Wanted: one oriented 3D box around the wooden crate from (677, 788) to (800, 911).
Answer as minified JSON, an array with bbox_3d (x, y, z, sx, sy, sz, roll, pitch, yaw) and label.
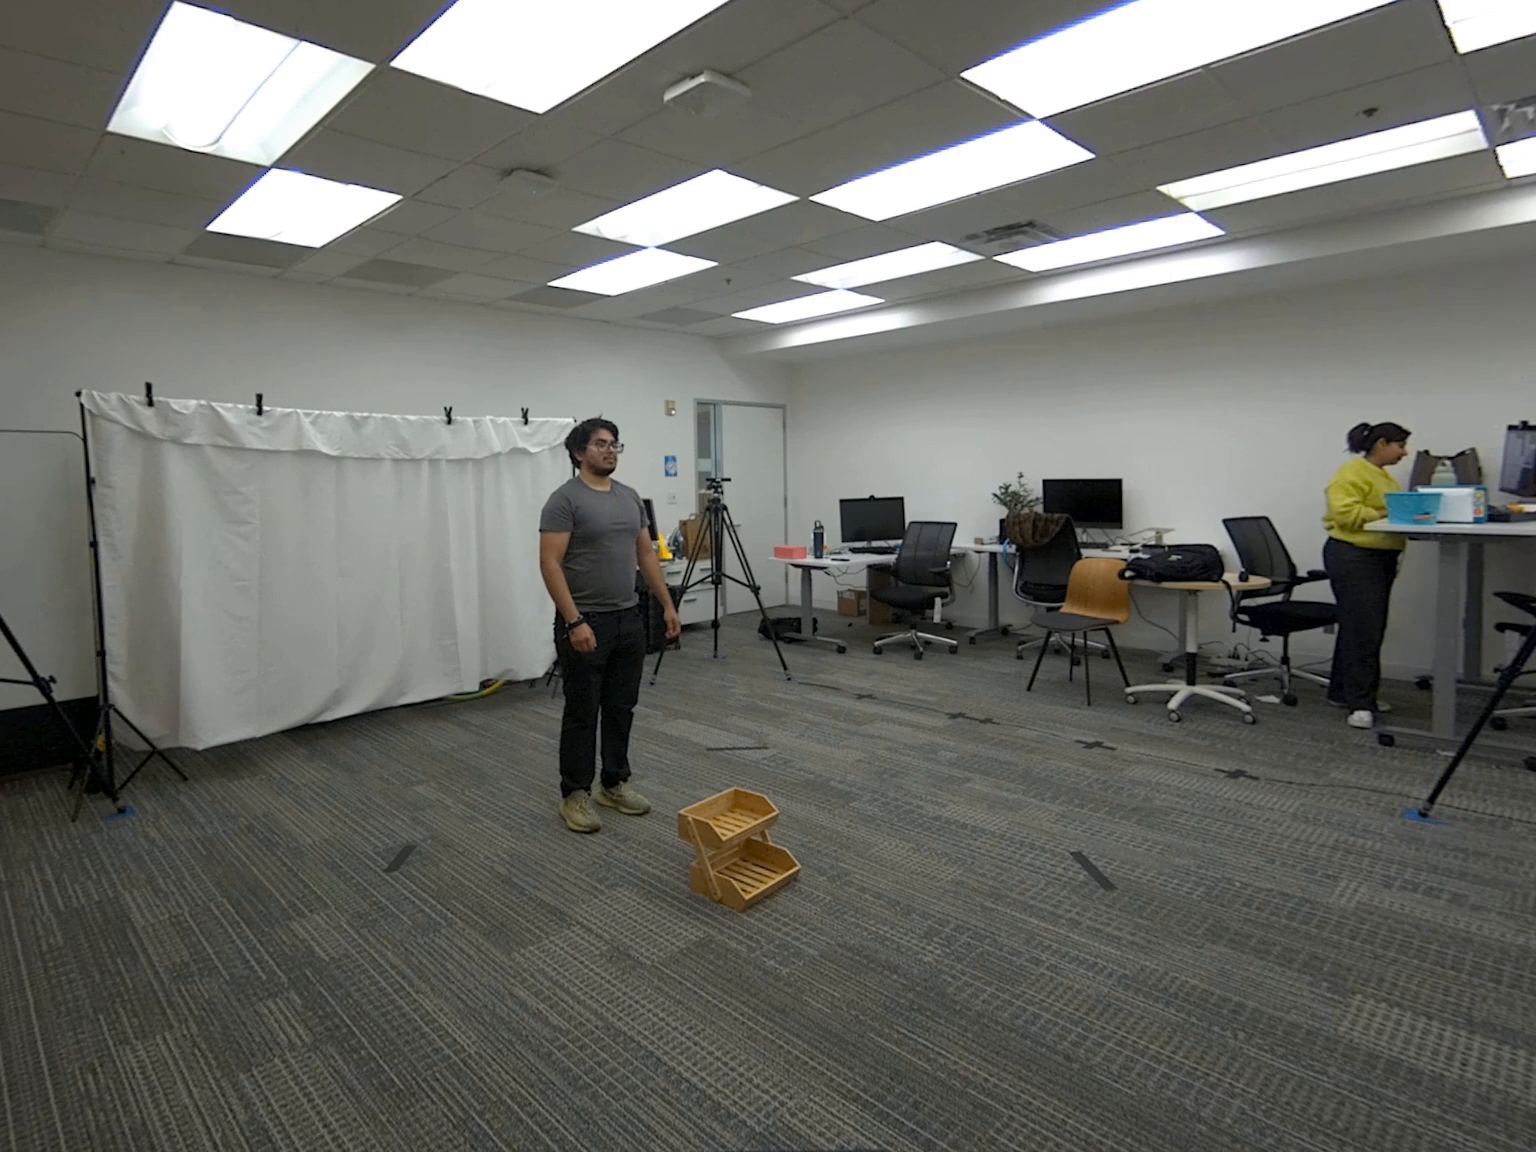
[{"bbox_3d":[-0.093,0.928,2.948,0.311,0.272,0.316,3,7,40],"label":"wooden crate"}]
